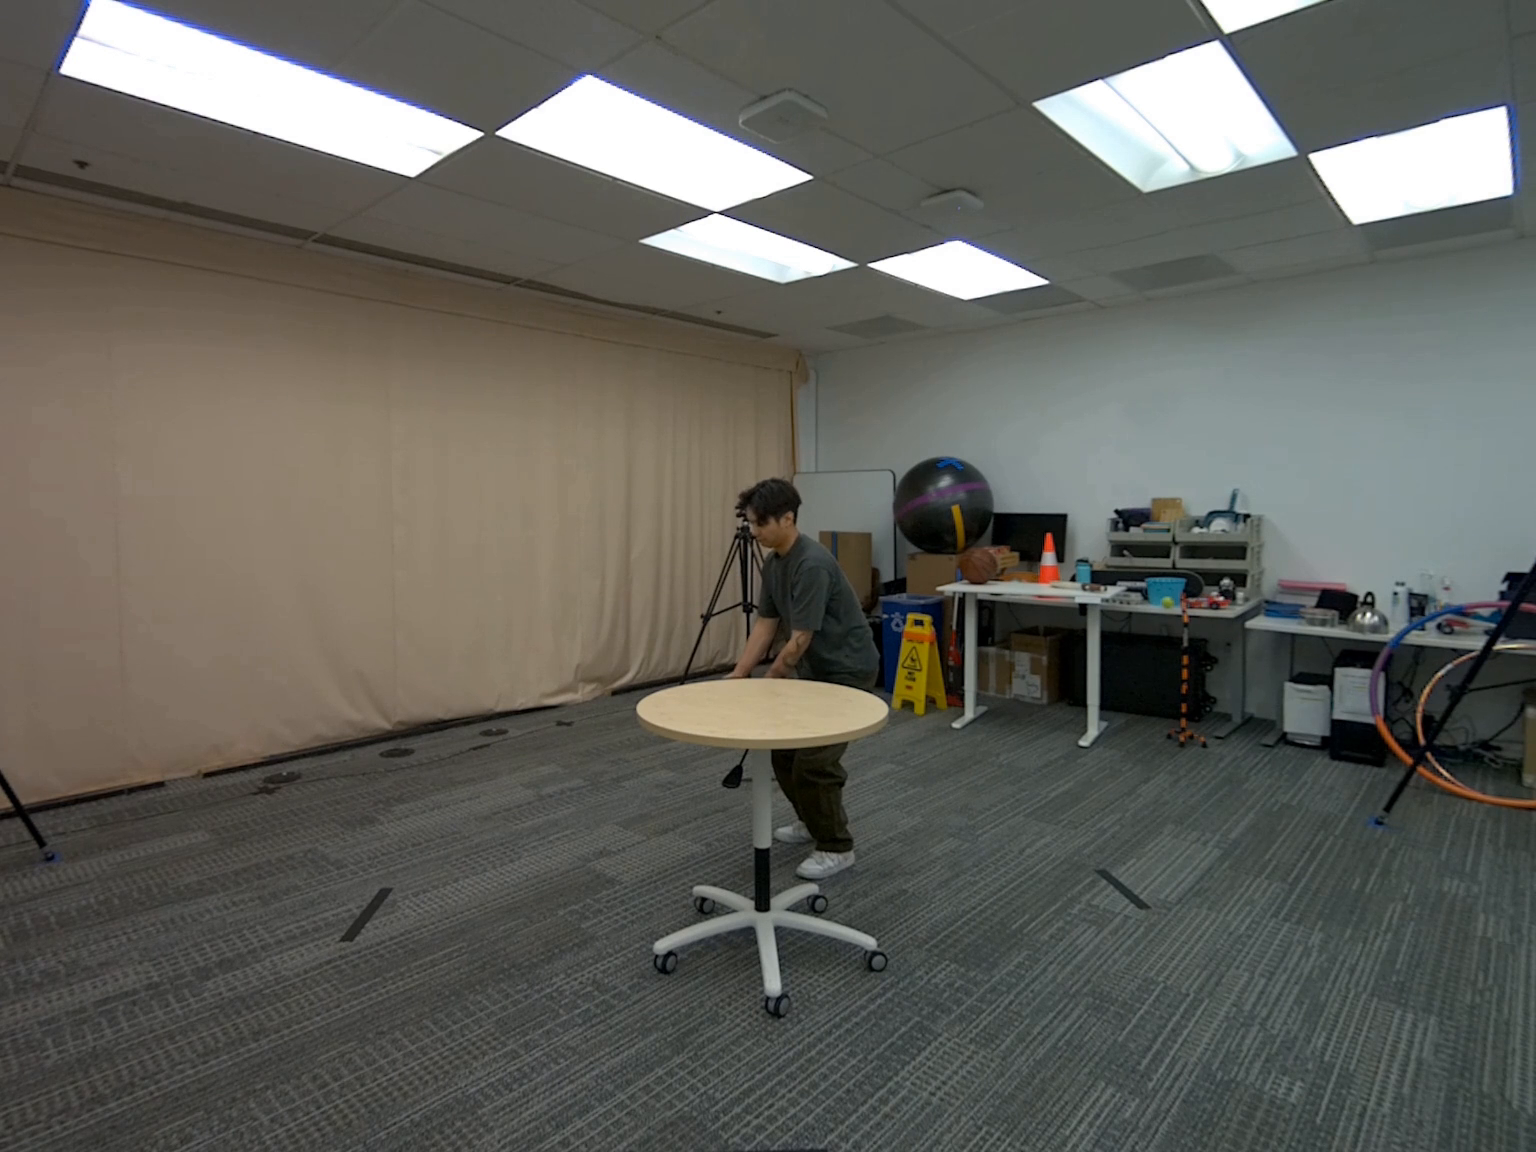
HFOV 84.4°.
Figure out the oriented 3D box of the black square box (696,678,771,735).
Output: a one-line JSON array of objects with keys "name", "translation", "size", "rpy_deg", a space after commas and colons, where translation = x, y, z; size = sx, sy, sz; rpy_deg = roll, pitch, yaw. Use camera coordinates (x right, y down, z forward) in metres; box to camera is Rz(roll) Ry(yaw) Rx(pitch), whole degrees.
[{"name": "black square box", "translation": [-0.138, 0.498, 3.270], "size": [0.223, 0.155, 0.221], "rpy_deg": [-1, 3, -19]}]
